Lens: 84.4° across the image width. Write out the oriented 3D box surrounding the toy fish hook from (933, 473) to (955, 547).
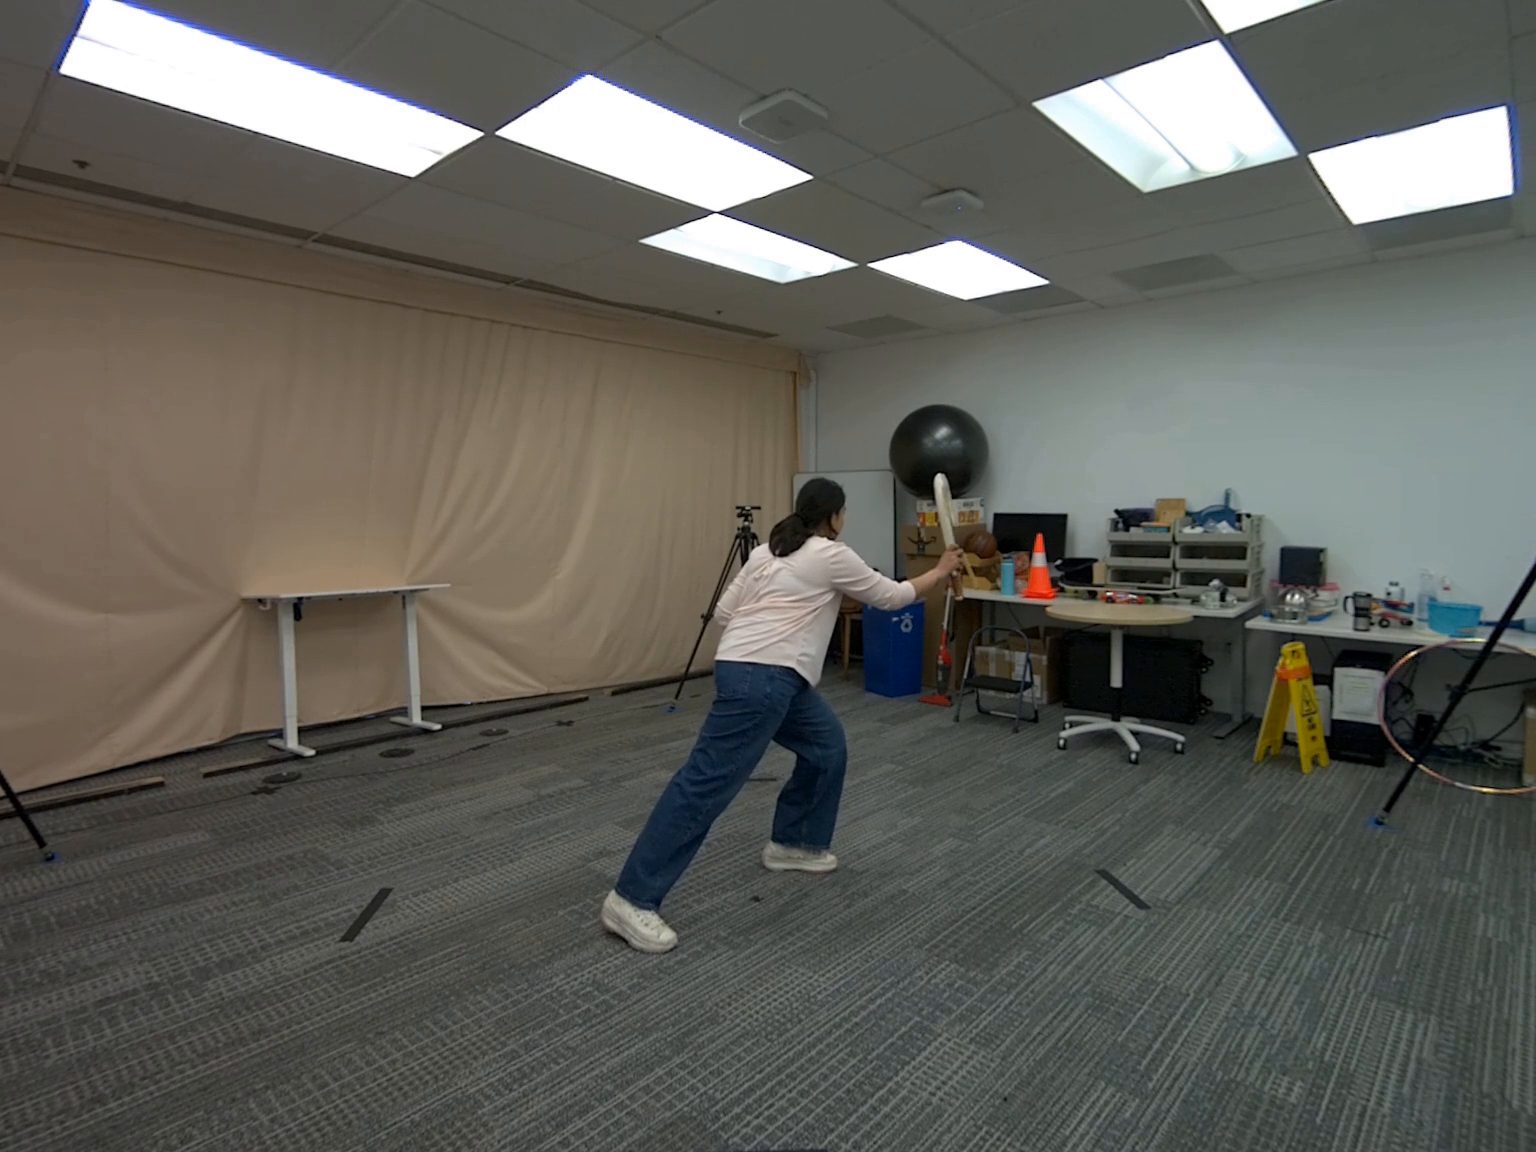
[{"bbox_3d":[0.736,-0.164,3.340,0.049,0.508,0.219,-9,-3,27],"label":"toy fish hook"}]
